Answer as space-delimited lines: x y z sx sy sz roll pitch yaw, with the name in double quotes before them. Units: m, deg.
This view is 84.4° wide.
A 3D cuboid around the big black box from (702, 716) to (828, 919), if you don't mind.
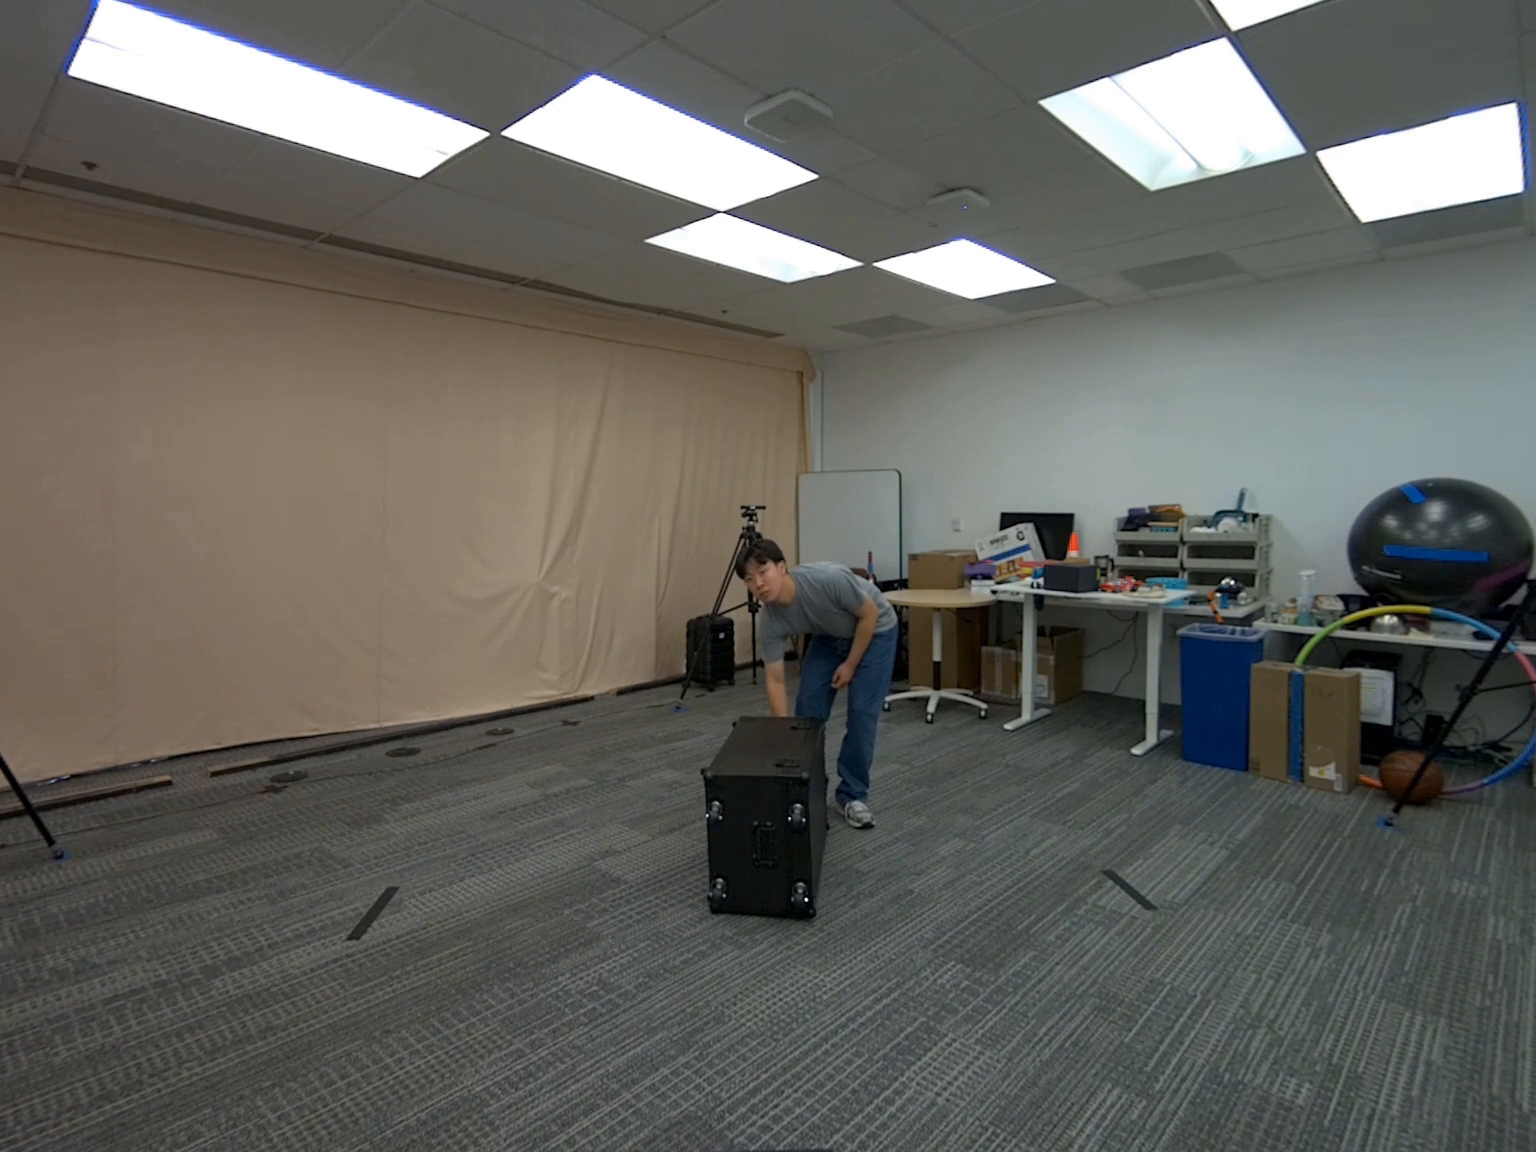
"big black box" 0.013 0.862 3.237 0.401 0.520 0.854 -1 4 9
